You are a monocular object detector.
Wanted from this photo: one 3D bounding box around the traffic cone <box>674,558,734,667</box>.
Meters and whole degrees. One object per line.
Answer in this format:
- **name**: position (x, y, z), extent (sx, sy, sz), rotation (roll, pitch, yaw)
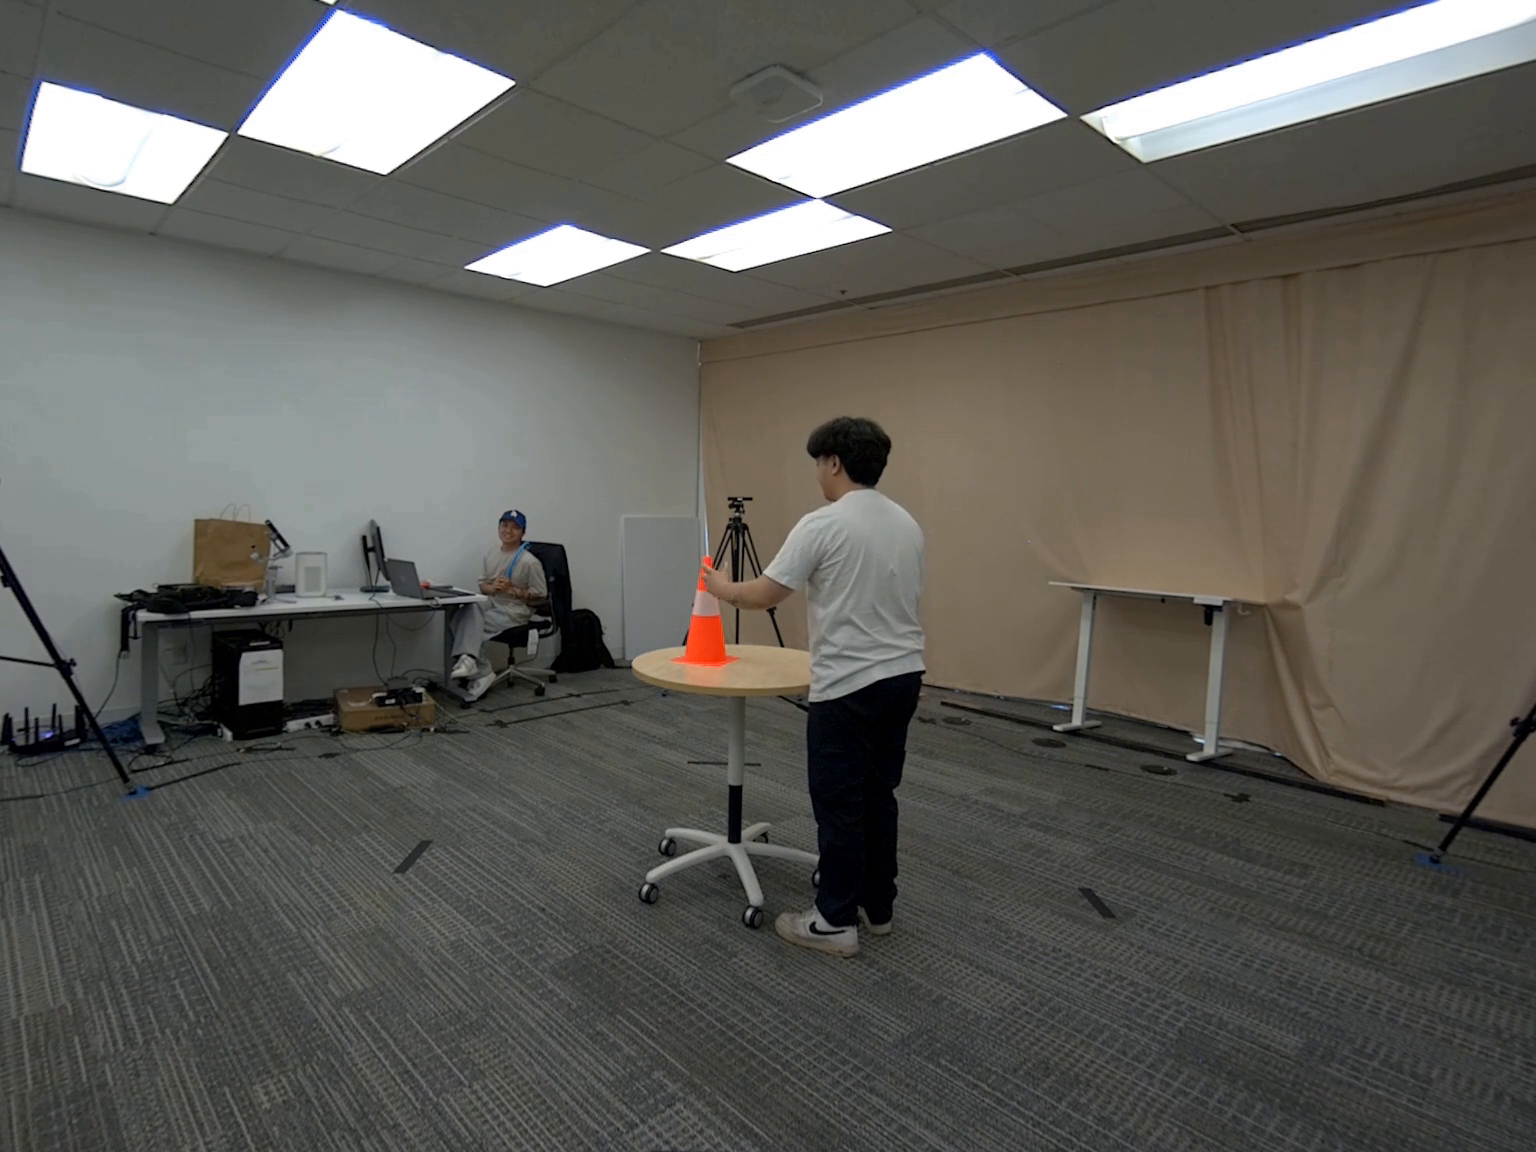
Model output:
- **traffic cone**: position (-0.232, 0.122, 3.087), extent (0.207, 0.383, 0.202), rotation (4, 3, 23)
